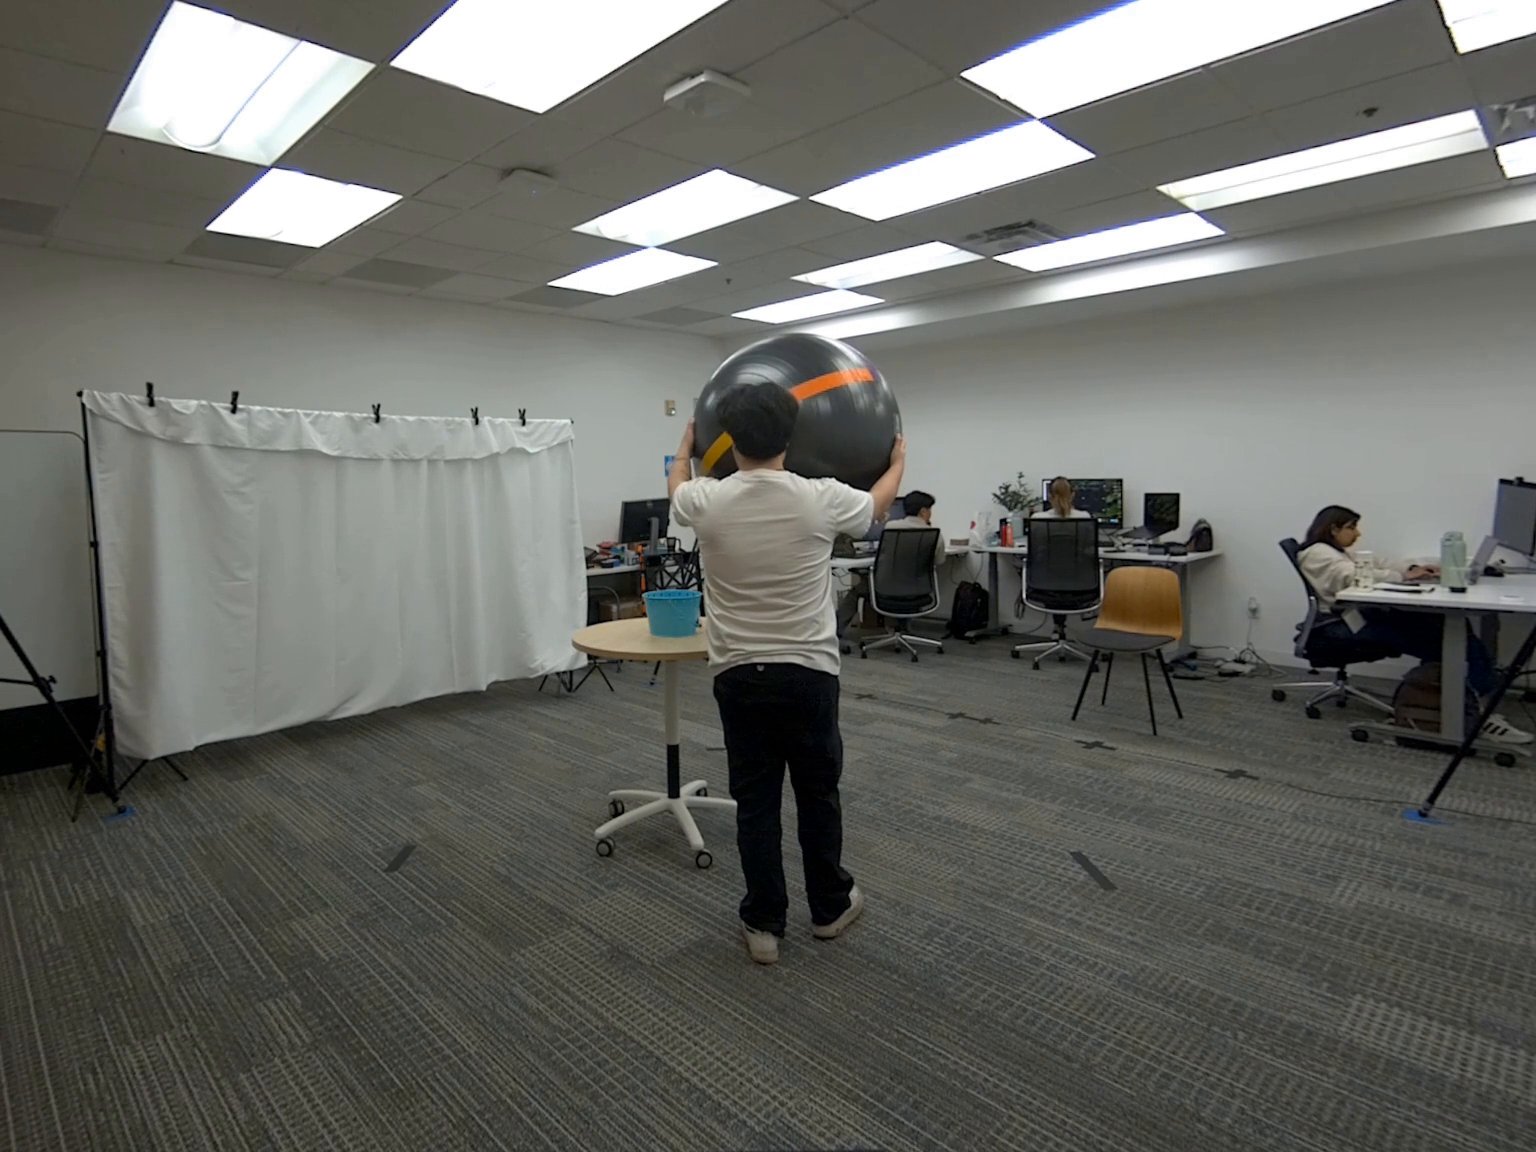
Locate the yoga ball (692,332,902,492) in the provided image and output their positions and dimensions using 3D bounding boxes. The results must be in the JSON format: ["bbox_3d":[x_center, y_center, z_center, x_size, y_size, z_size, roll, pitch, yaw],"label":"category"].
[{"bbox_3d":[0.101,-0.477,3.077,0.757,0.755,0.762,-1,5,-2],"label":"yoga ball"}]
